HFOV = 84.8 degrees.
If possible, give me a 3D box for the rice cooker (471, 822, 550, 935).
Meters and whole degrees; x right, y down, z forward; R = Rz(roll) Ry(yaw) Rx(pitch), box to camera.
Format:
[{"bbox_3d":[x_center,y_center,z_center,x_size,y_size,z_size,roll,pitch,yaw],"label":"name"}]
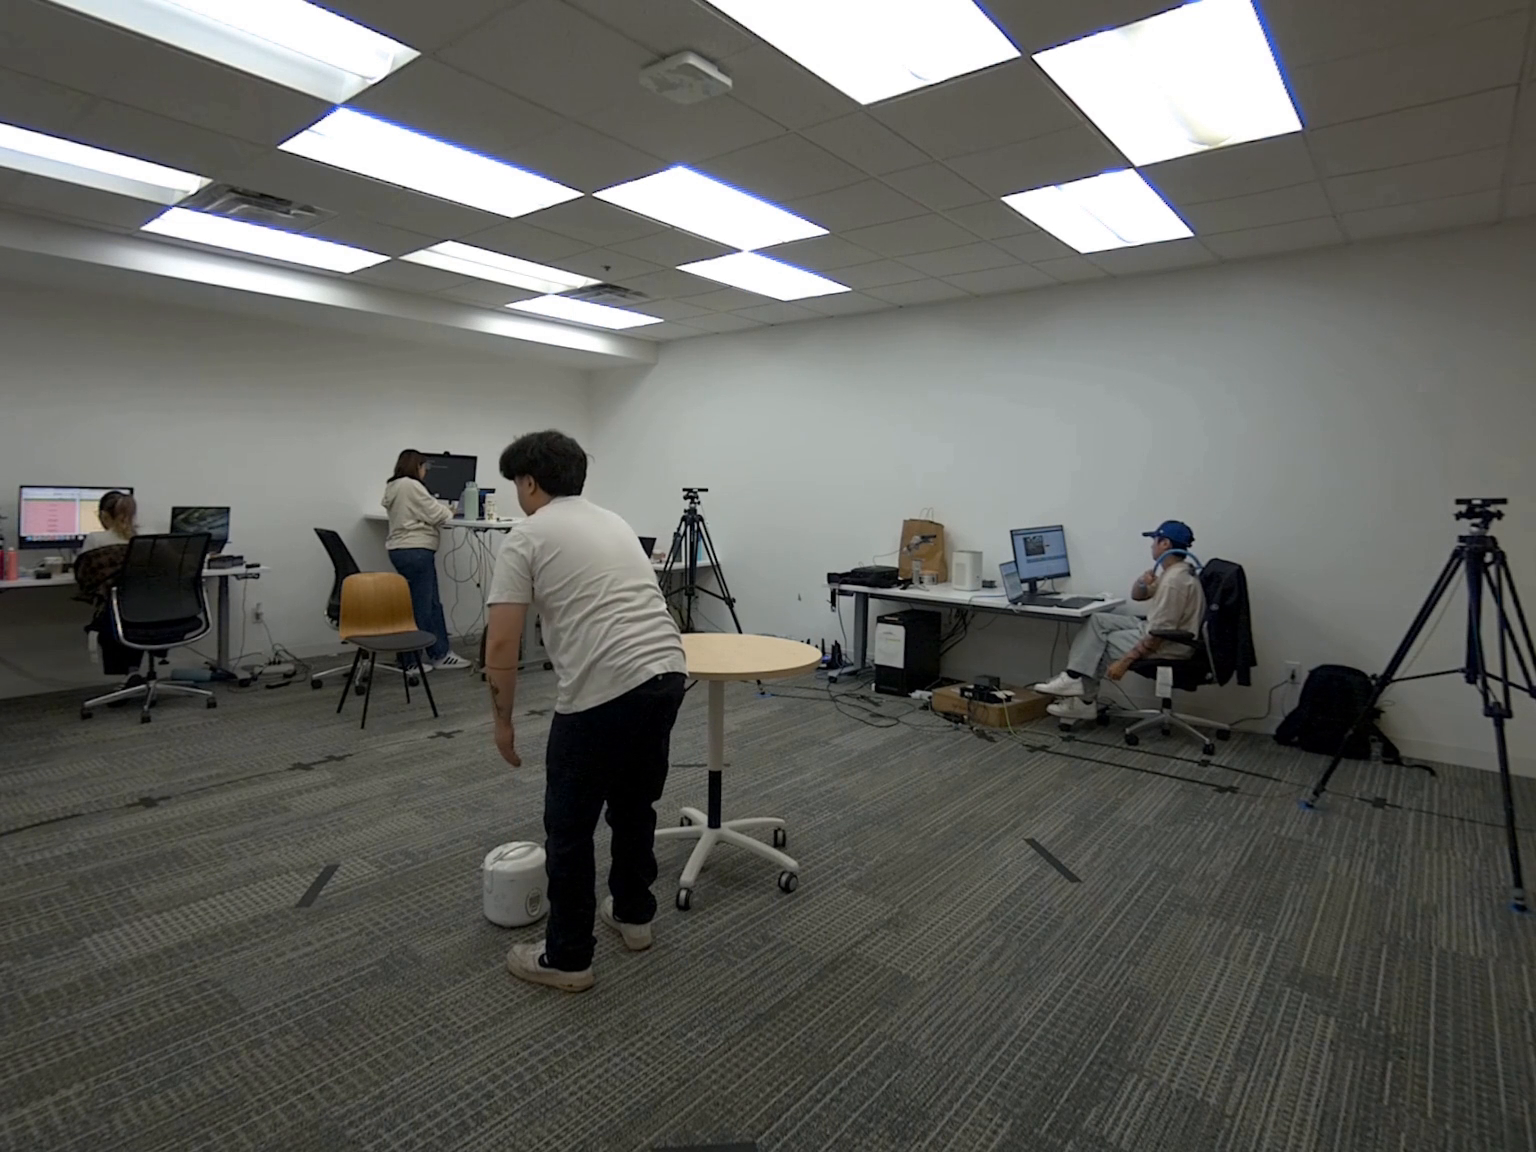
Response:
[{"bbox_3d":[-0.817,0.977,2.748,0.225,0.232,0.214,3,5,44],"label":"rice cooker"}]
